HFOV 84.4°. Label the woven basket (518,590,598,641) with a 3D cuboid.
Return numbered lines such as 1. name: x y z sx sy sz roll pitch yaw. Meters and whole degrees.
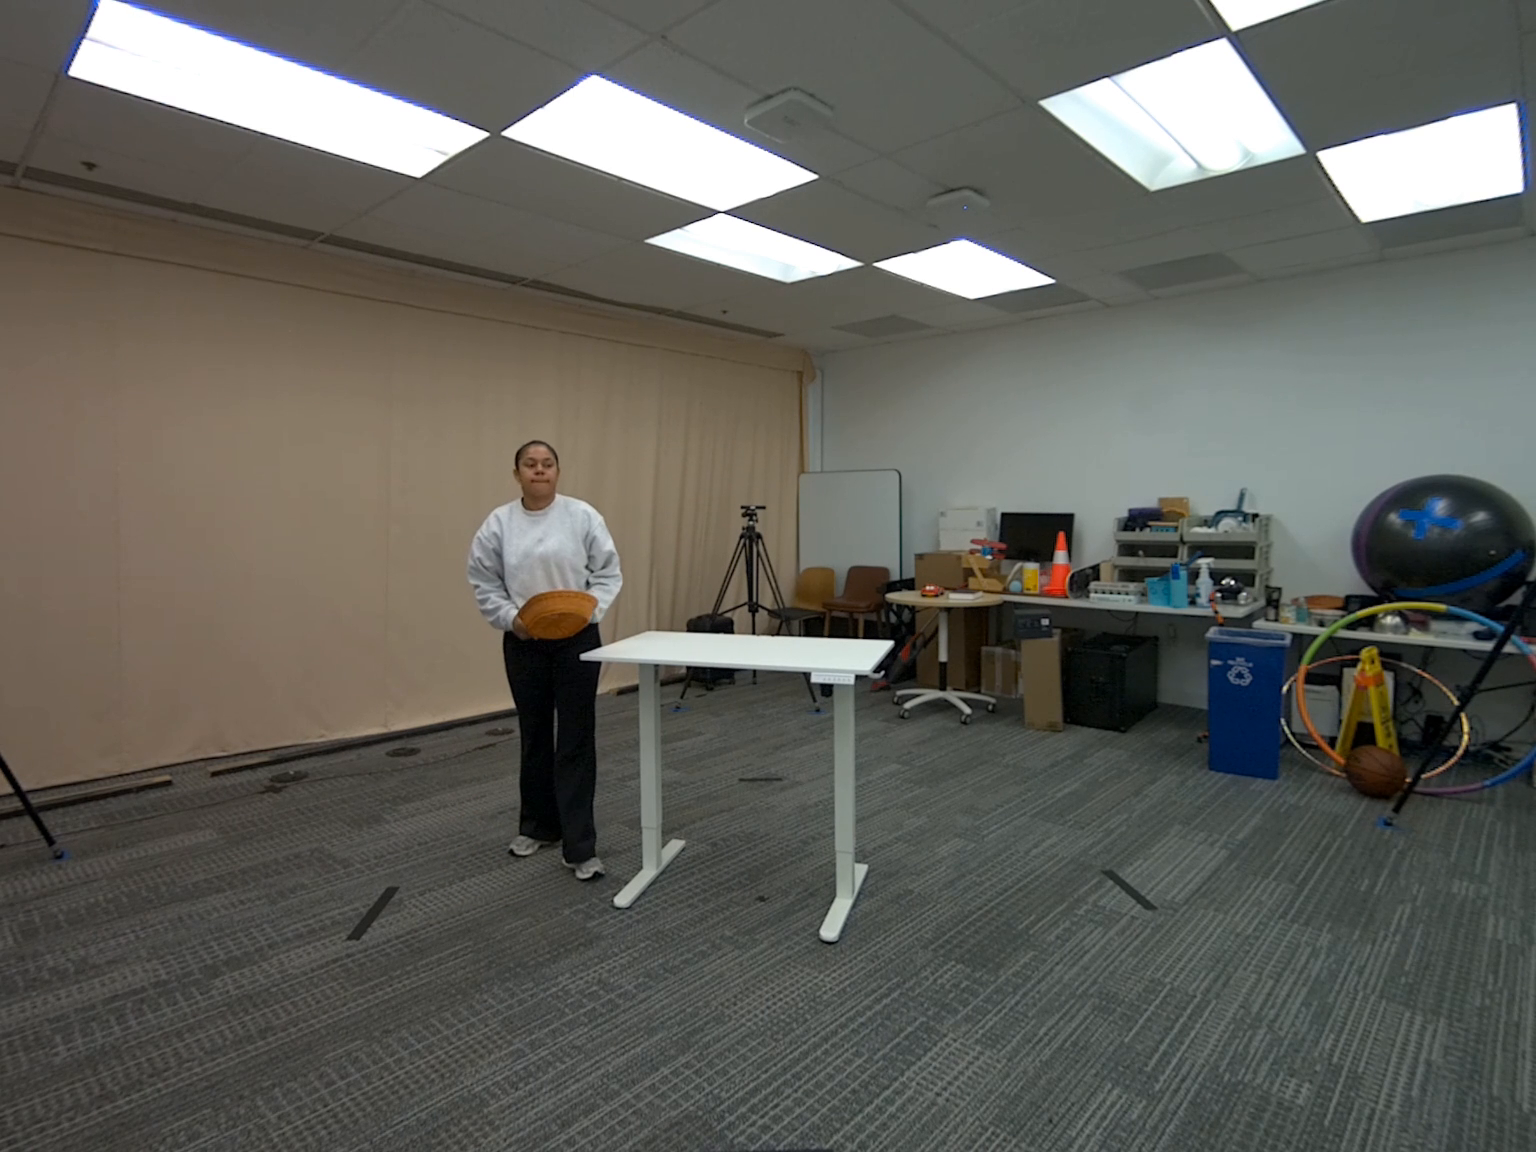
1. woven basket: -0.741 0.161 2.958 0.245 0.074 0.356 9 -25 -31
